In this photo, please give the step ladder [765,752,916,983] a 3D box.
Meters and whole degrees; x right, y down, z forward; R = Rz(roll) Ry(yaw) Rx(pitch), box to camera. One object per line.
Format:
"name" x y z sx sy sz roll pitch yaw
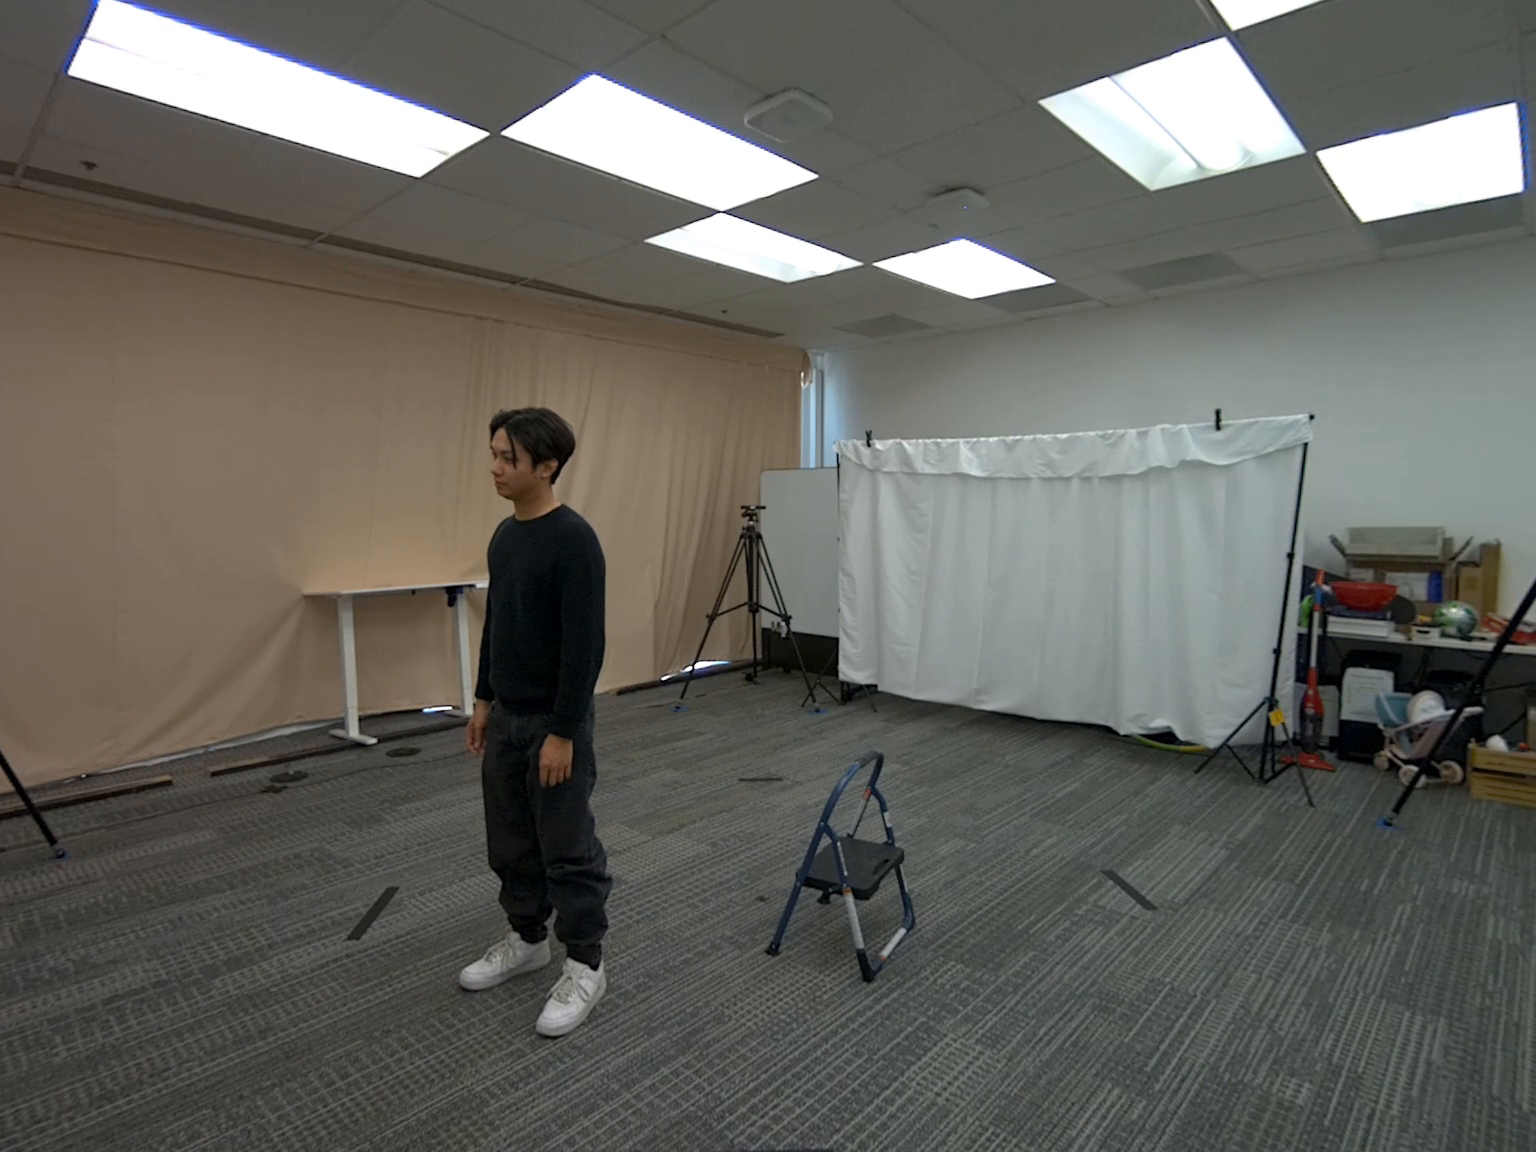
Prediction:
"step ladder" 0.244 0.863 2.697 0.359 0.605 0.419 1 4 29
